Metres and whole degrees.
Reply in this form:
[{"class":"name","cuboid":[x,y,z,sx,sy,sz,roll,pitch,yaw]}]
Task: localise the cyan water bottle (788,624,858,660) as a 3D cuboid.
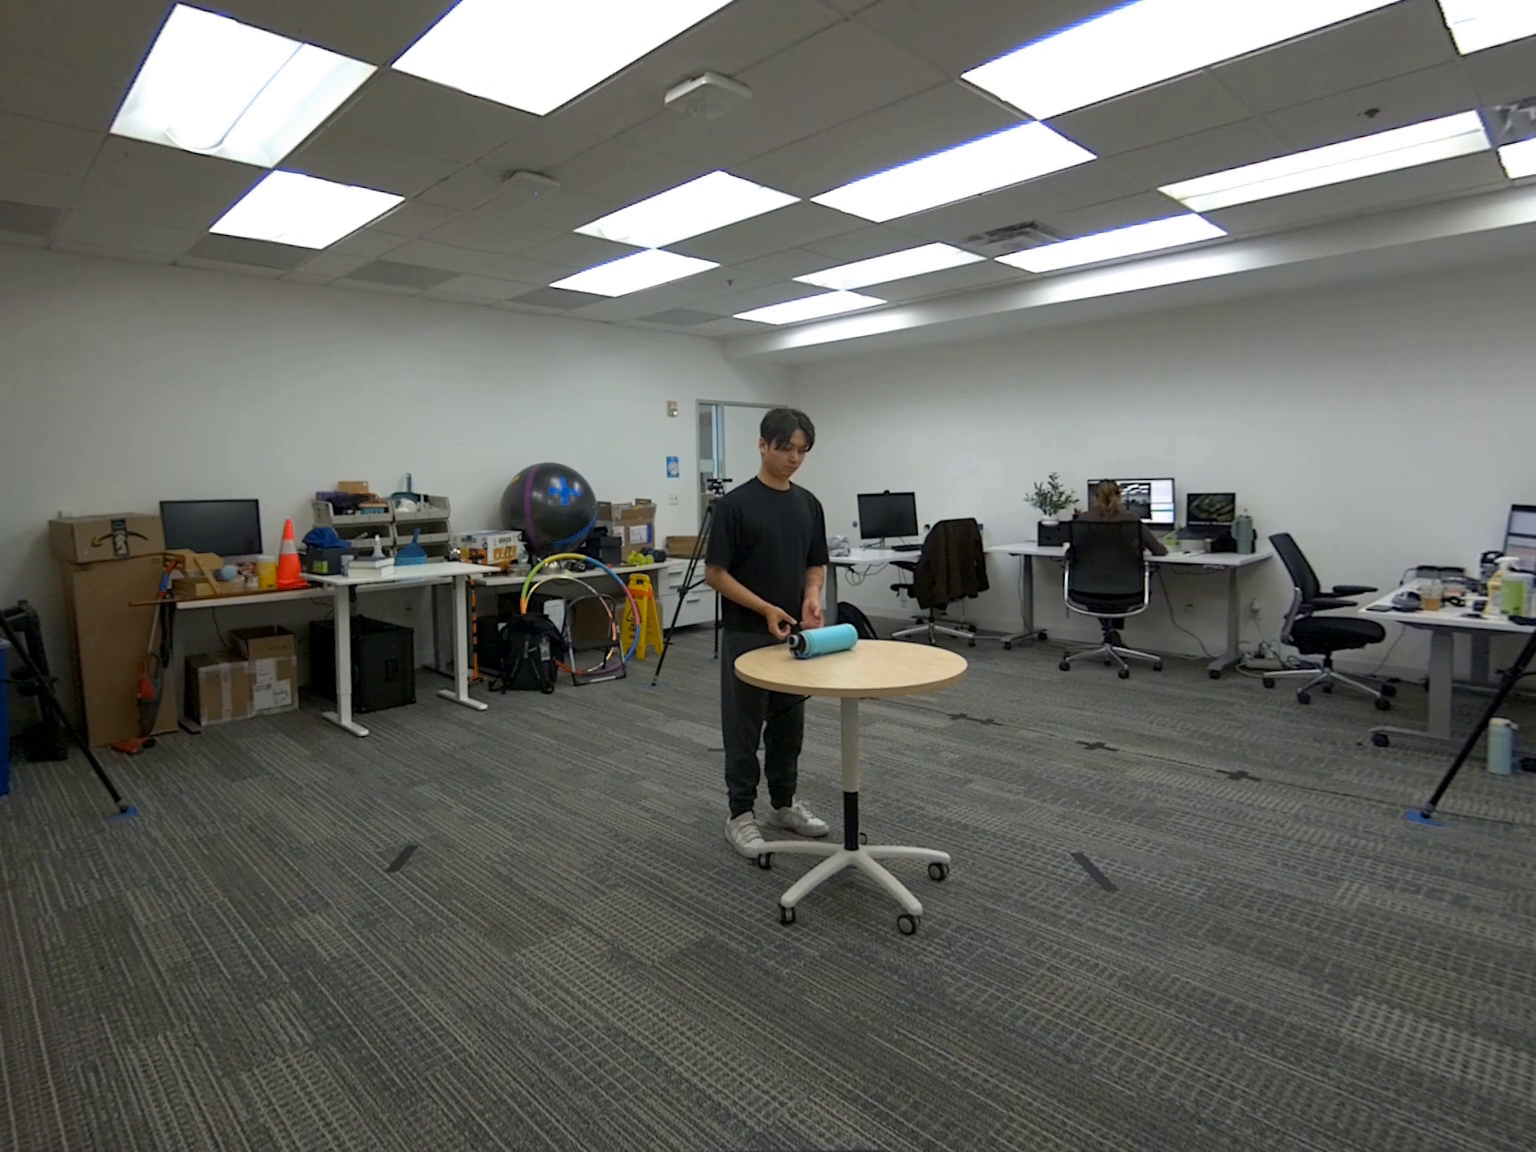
[{"class":"cyan water bottle","cuboid":[0.184,0.226,2.984,0.276,0.092,0.095,-6,7,-41]}]
